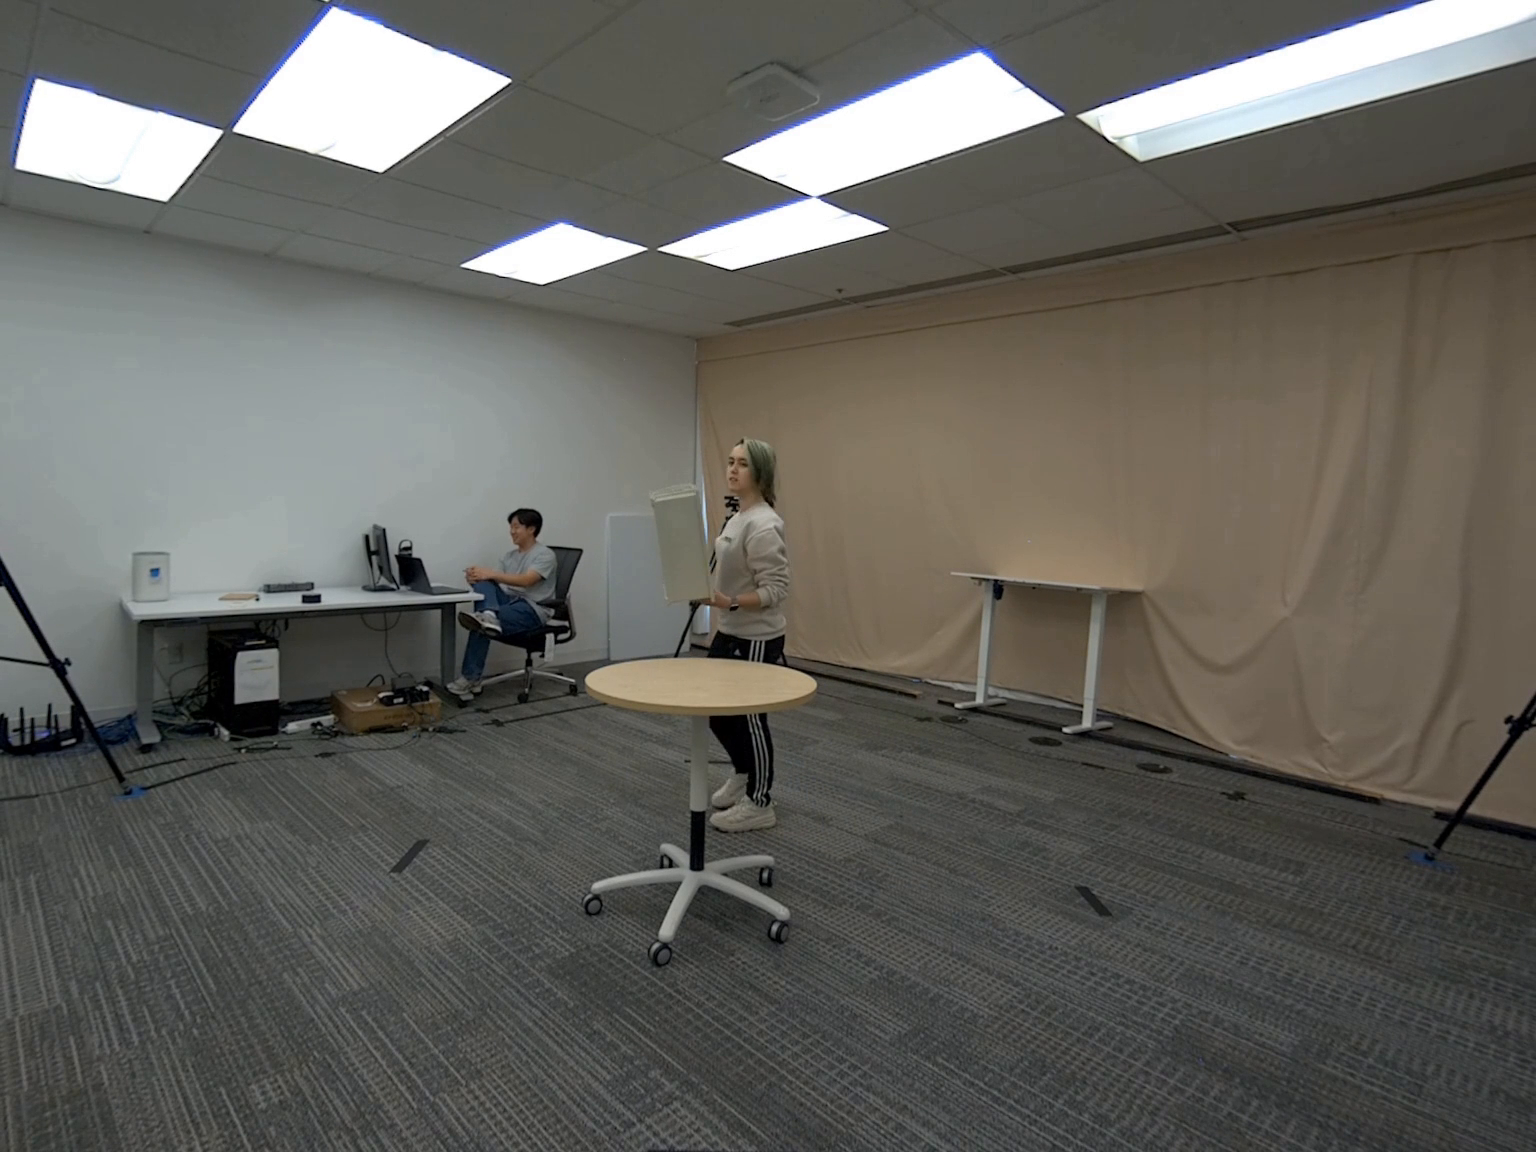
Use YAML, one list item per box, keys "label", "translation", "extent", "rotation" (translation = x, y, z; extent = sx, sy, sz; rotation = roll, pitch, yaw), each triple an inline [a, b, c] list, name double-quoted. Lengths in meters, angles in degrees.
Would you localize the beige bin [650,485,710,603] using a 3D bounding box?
- label: "beige bin"
  translation: [-0.340, -0.127, 3.261]
  extent: [0.188, 0.419, 0.382]
  rotation: [-6, 9, -7]
